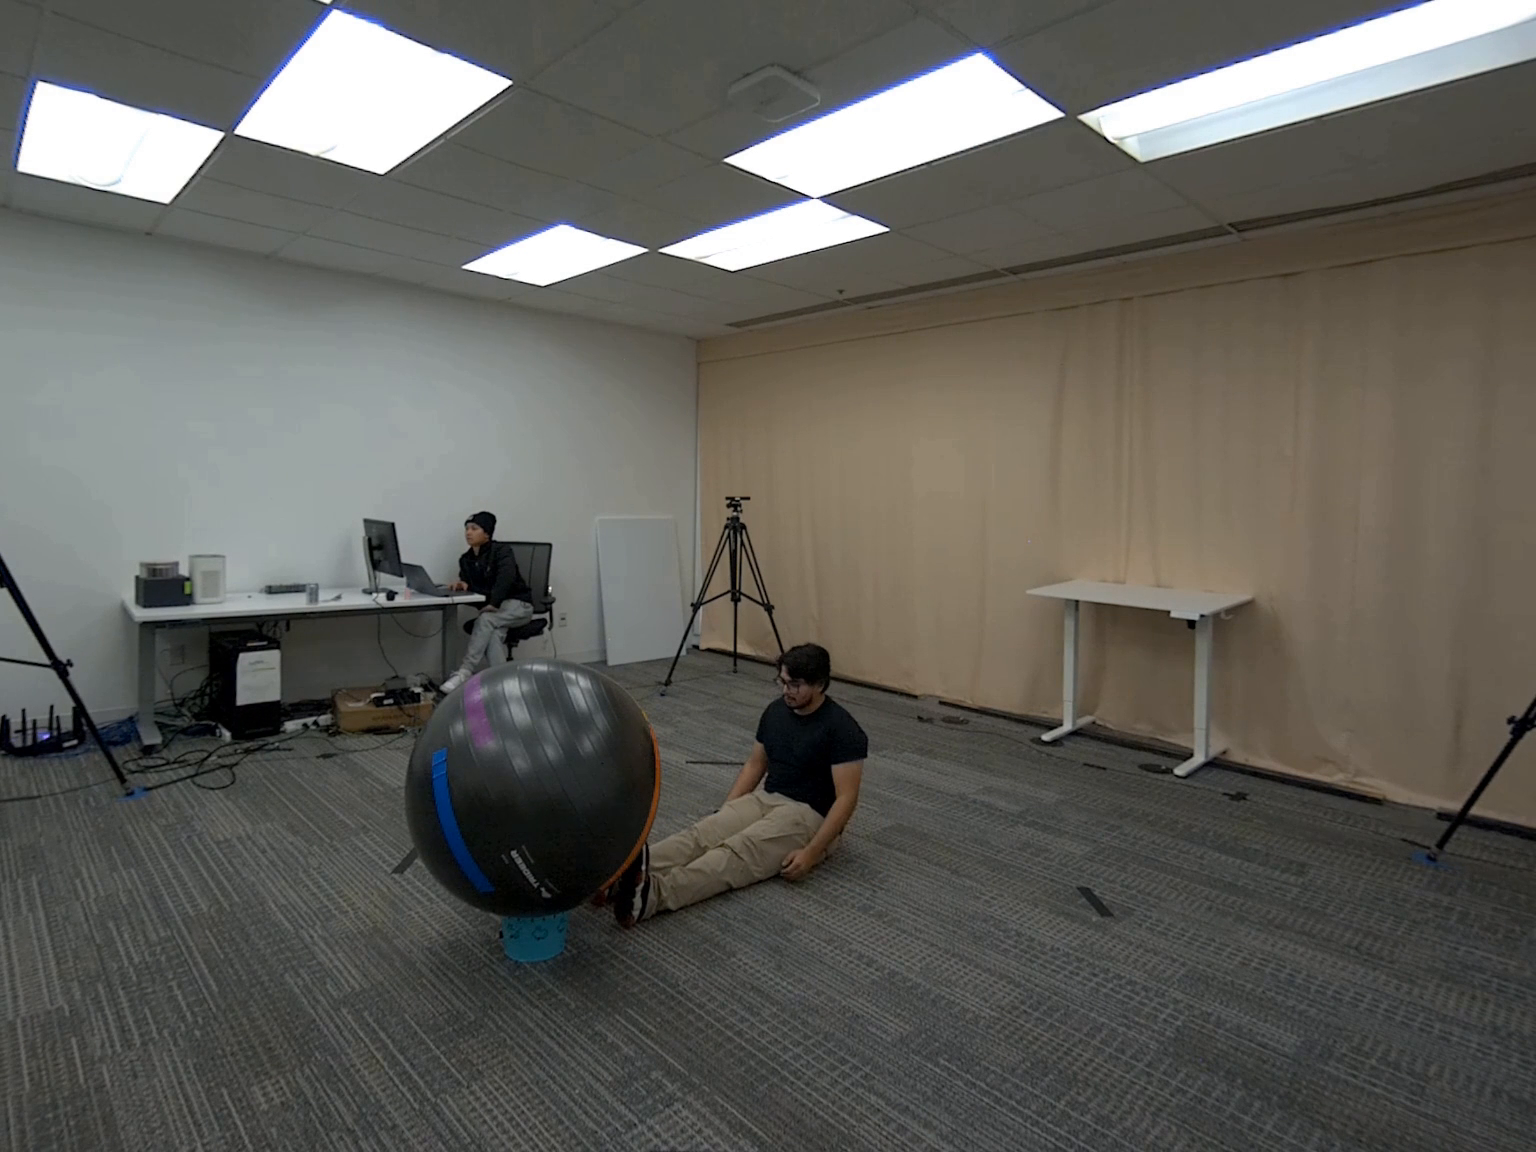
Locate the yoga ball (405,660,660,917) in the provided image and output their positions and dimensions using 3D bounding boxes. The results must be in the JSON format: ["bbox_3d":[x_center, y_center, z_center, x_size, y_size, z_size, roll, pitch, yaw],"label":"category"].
[{"bbox_3d":[-0.711,0.637,2.566,0.757,0.756,0.761,1,4,-1],"label":"yoga ball"}]
